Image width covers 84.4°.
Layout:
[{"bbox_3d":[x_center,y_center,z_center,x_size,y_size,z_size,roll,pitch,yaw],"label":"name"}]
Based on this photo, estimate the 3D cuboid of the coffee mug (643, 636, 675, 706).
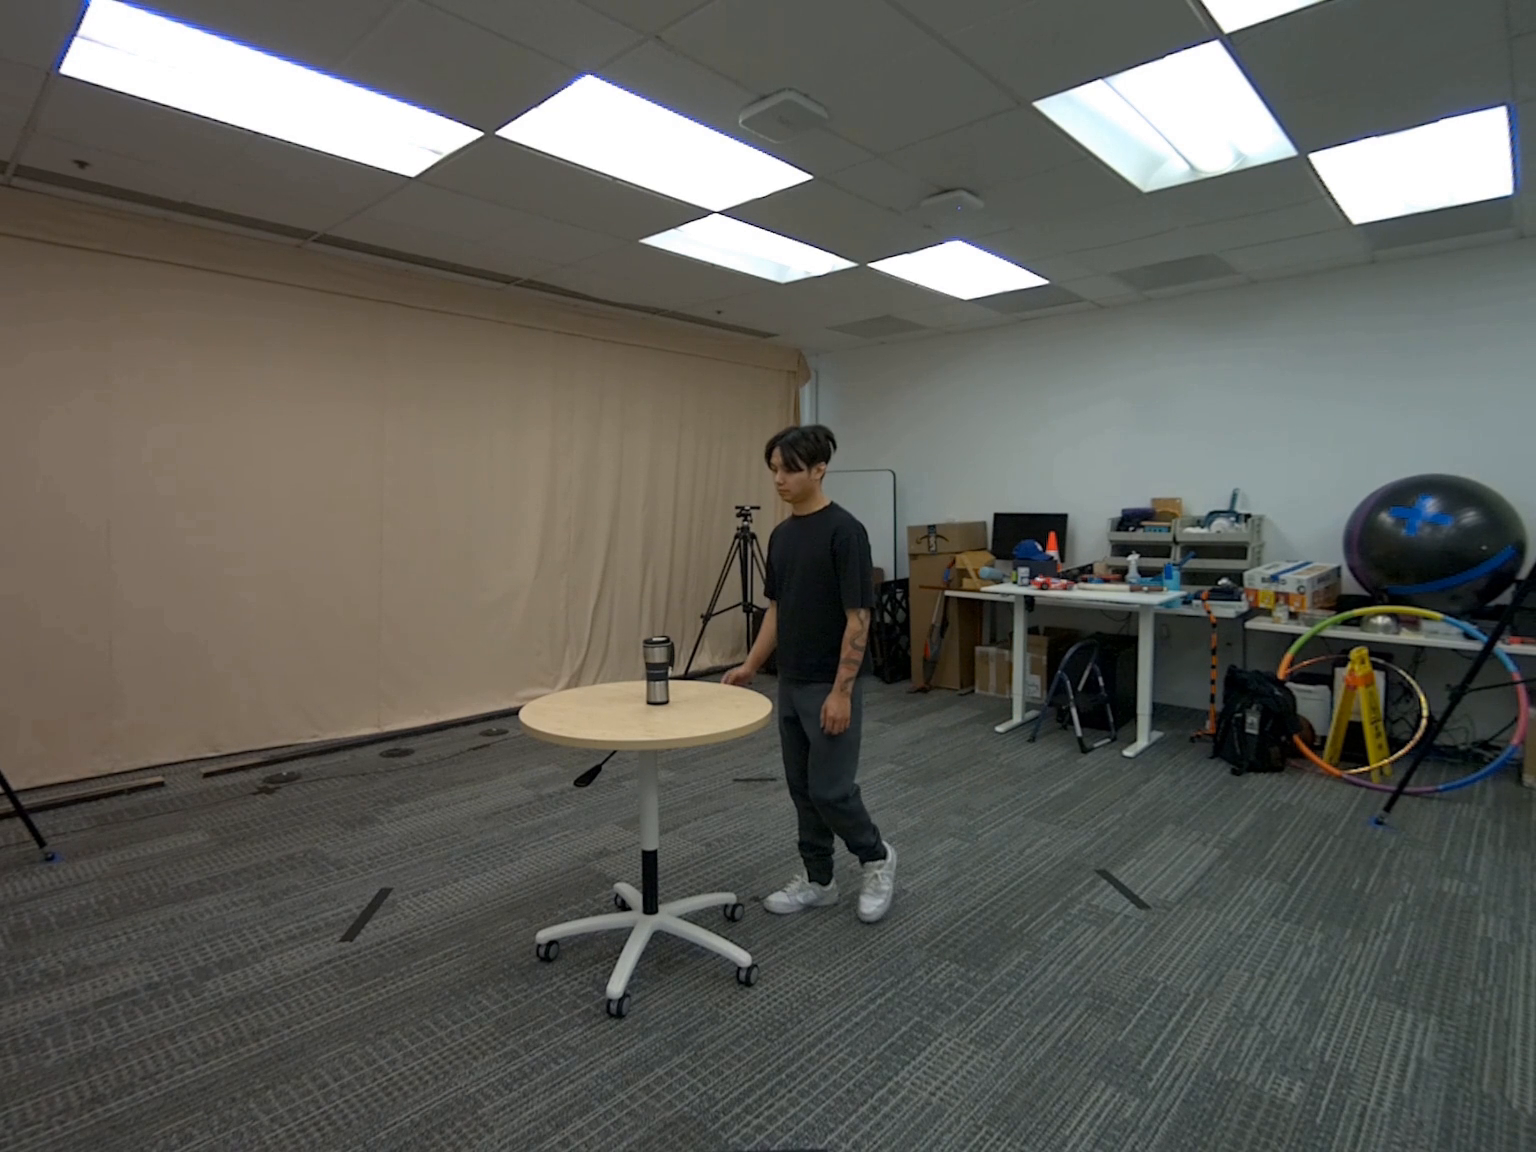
[{"bbox_3d":[-0.324,0.295,2.618,0.118,0.203,0.090,-6,2,-39],"label":"coffee mug"}]
